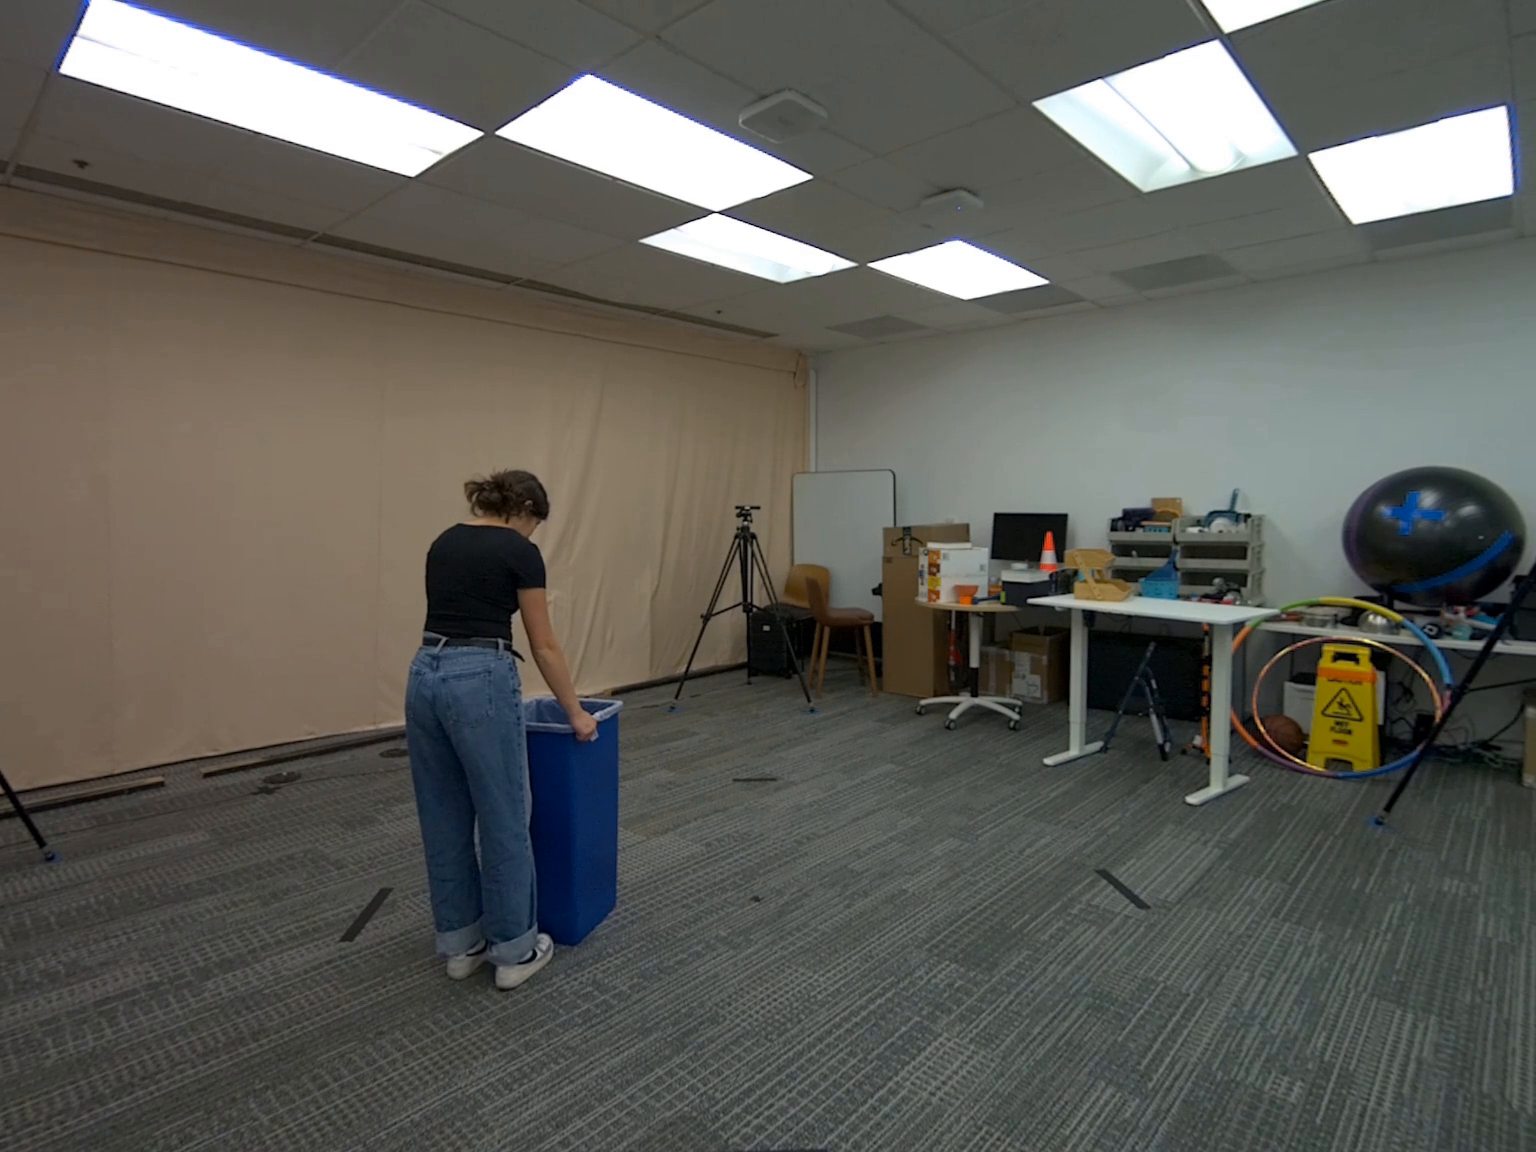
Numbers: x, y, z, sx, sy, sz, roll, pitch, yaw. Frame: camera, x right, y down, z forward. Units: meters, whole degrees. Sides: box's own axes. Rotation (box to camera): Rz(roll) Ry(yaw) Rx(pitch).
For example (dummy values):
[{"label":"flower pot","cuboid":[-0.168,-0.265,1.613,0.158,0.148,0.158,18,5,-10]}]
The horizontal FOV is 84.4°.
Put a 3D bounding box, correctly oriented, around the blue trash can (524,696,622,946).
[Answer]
[{"label":"blue trash can","cuboid":[-0.723,0.806,2.838,0.381,0.712,0.371,1,3,17]}]
